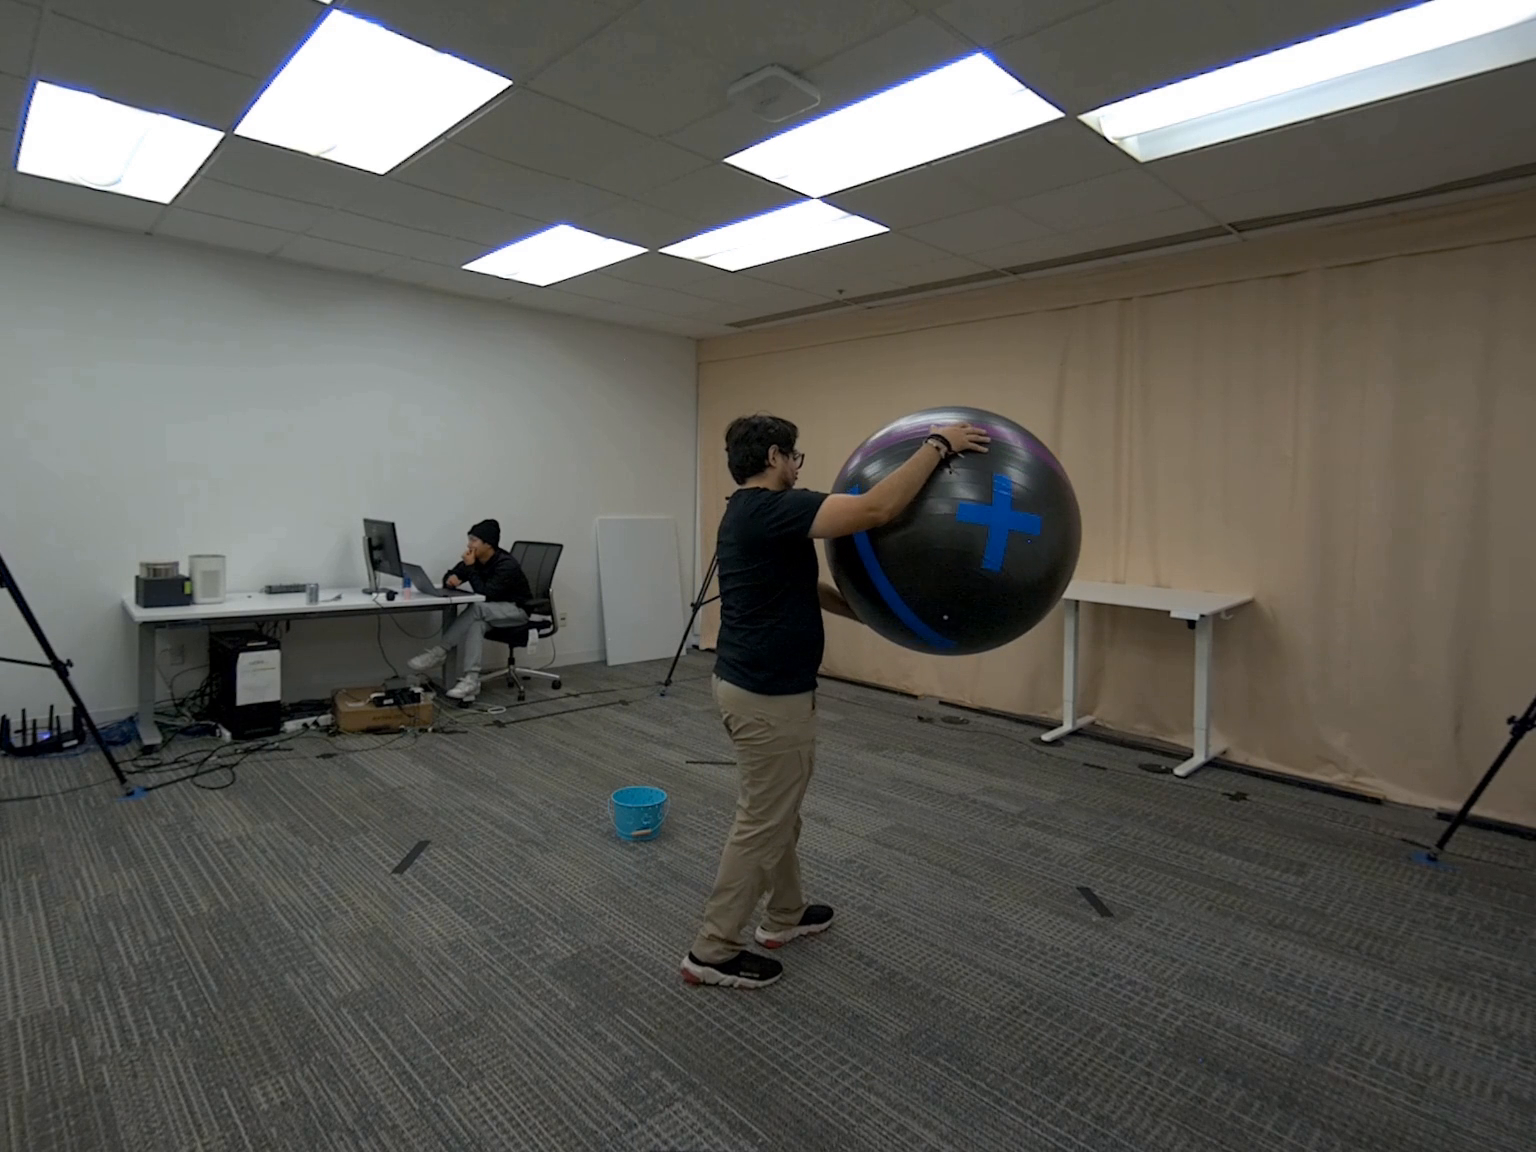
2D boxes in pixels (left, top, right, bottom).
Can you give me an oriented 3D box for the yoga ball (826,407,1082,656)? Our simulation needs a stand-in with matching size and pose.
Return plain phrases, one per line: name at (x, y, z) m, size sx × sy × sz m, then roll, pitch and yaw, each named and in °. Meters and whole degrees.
yoga ball at (0.552, -0.131, 2.579) m, size 0.757 × 0.756 × 0.761 m, roll 1°, pitch 4°, yaw -1°
